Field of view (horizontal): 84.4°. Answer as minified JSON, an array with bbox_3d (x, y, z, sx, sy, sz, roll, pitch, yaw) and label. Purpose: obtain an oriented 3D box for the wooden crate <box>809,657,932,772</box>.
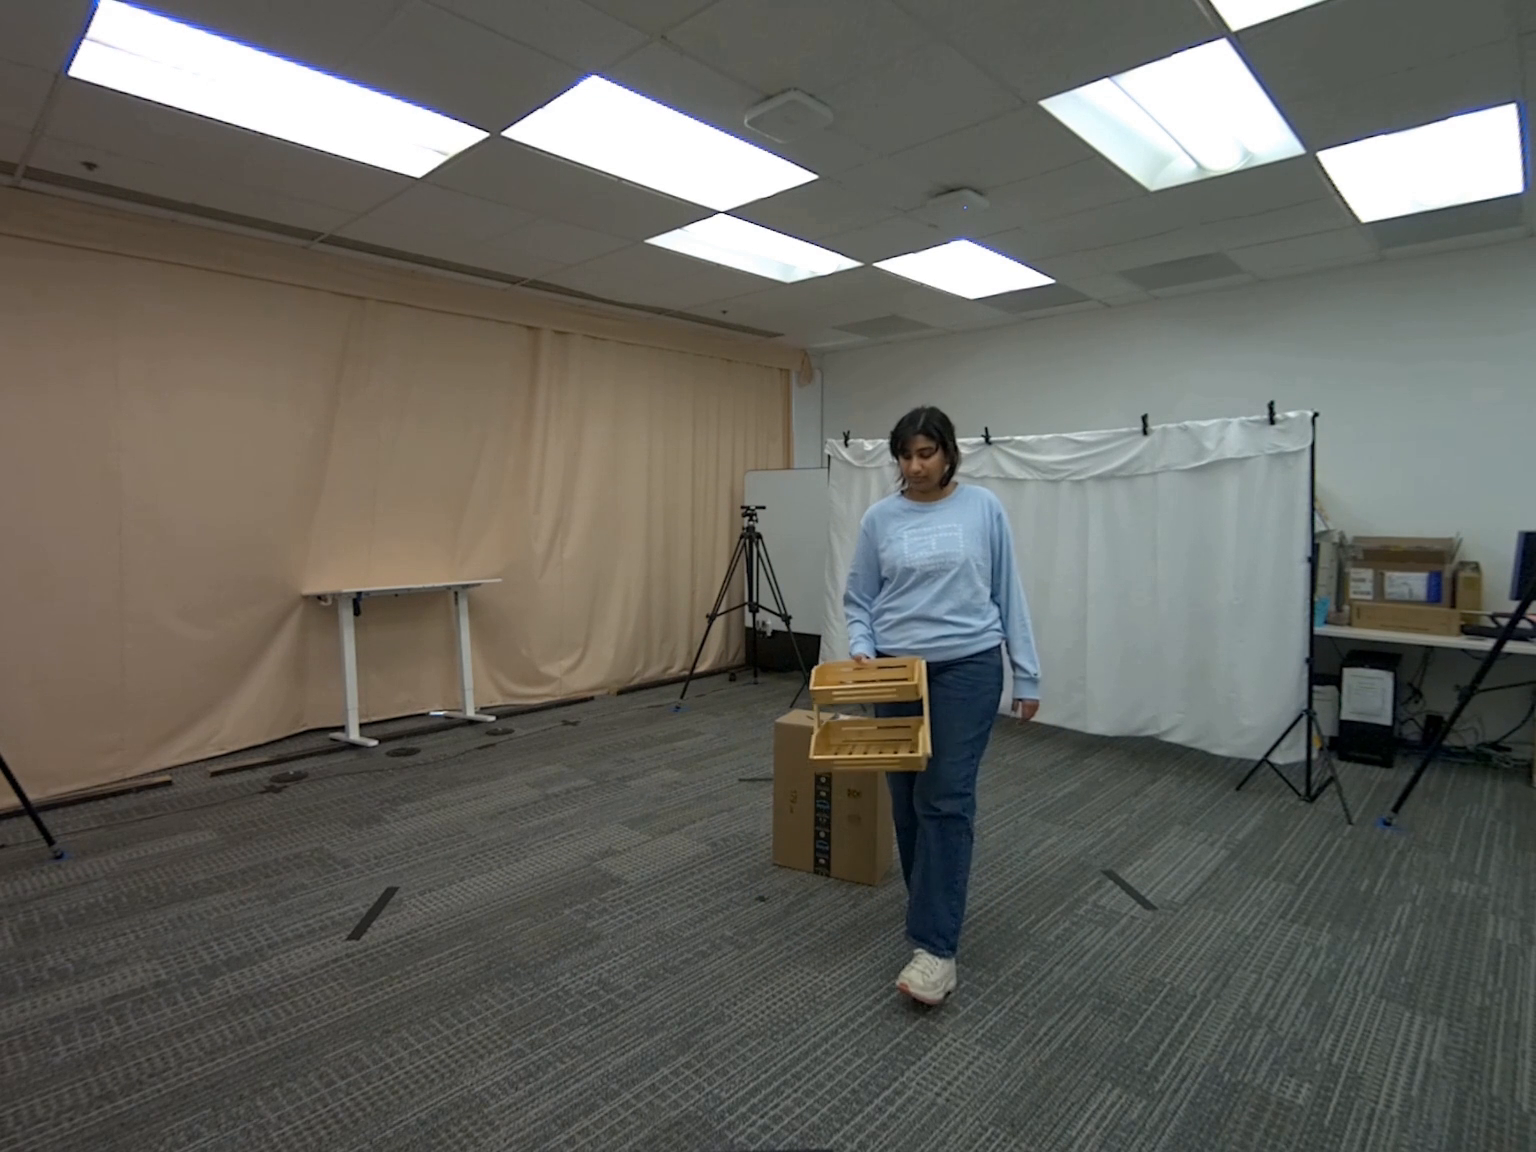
[{"bbox_3d":[0.289,0.384,2.366,0.330,0.273,0.297,-5,0,17],"label":"wooden crate"}]
